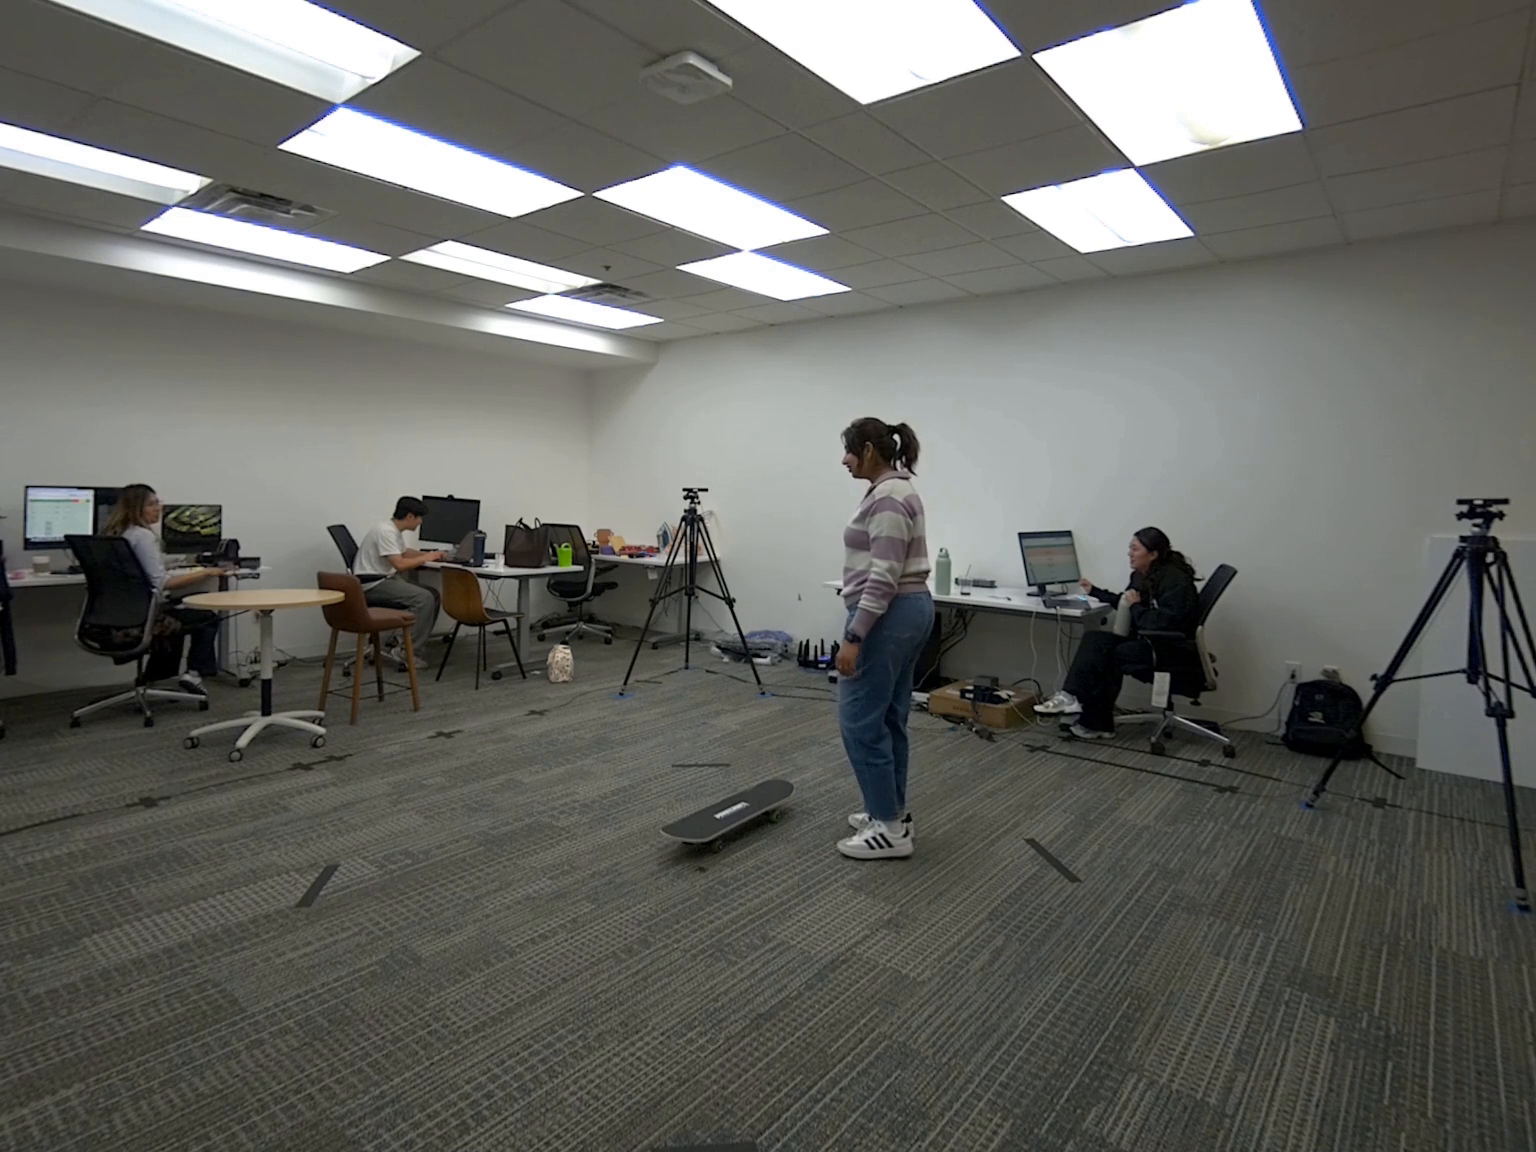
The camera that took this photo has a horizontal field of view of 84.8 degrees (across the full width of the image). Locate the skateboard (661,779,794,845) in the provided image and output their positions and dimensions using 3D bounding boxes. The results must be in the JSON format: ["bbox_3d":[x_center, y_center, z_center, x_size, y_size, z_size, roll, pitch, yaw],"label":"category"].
[{"bbox_3d":[-0.149,0.984,3.463,0.200,0.110,0.763,5,7,35],"label":"skateboard"}]
